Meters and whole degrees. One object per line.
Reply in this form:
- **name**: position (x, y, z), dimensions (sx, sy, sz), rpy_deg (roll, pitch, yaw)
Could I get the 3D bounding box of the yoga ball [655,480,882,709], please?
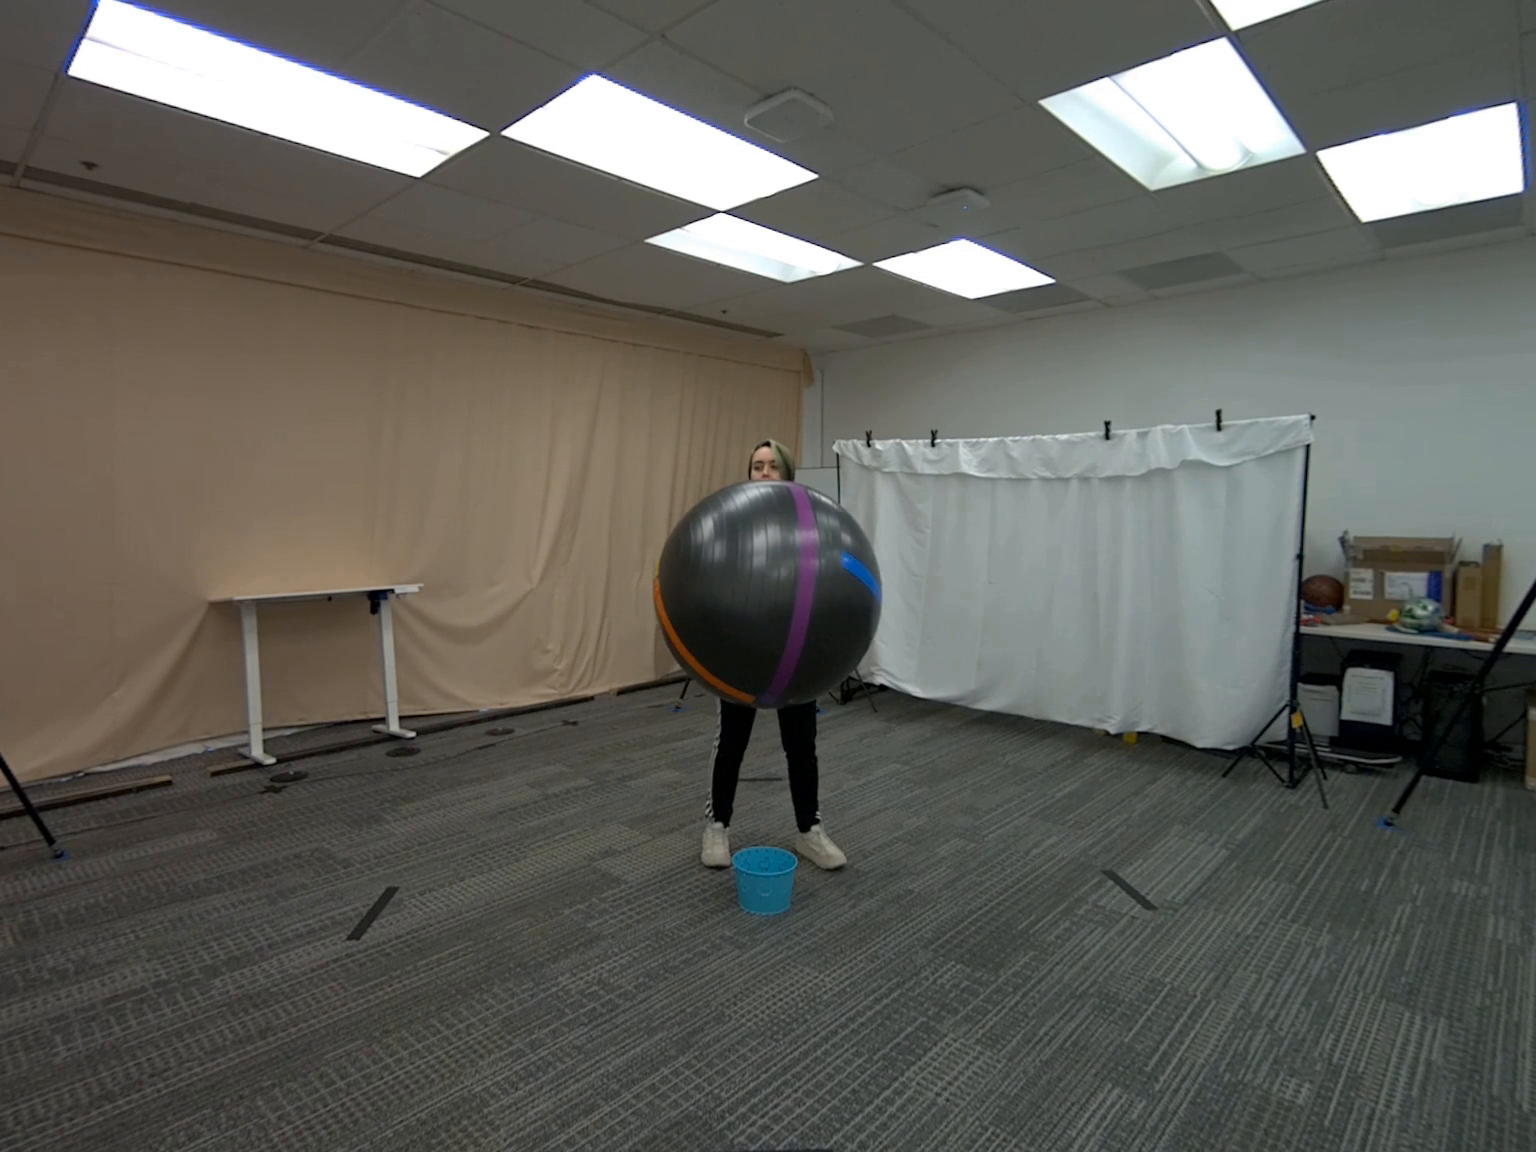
- **yoga ball**: position (-0.001, 0.064, 2.805), dimensions (0.757, 0.756, 0.760), rpy_deg (0, 4, -2)
